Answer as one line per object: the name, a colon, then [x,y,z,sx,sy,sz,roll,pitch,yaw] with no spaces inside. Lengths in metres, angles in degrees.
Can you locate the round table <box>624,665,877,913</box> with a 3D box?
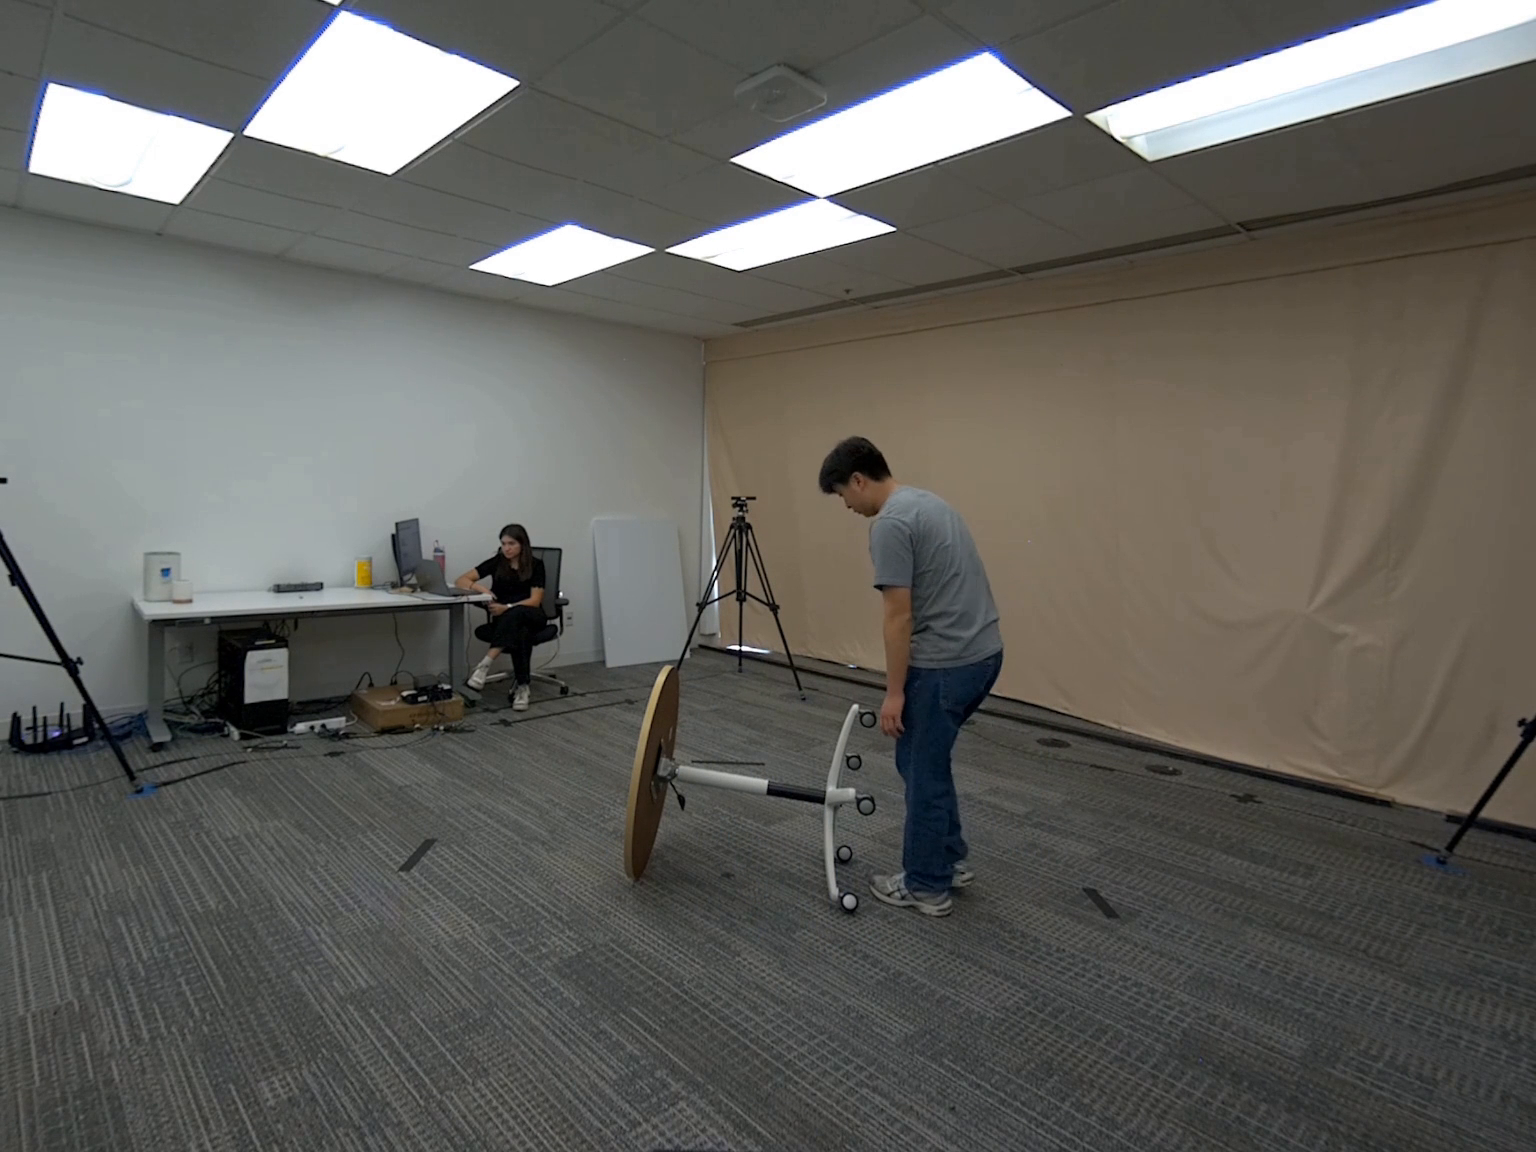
round table: [-0.047,0.769,3.087,0.797,0.762,0.763,9,5,4]
